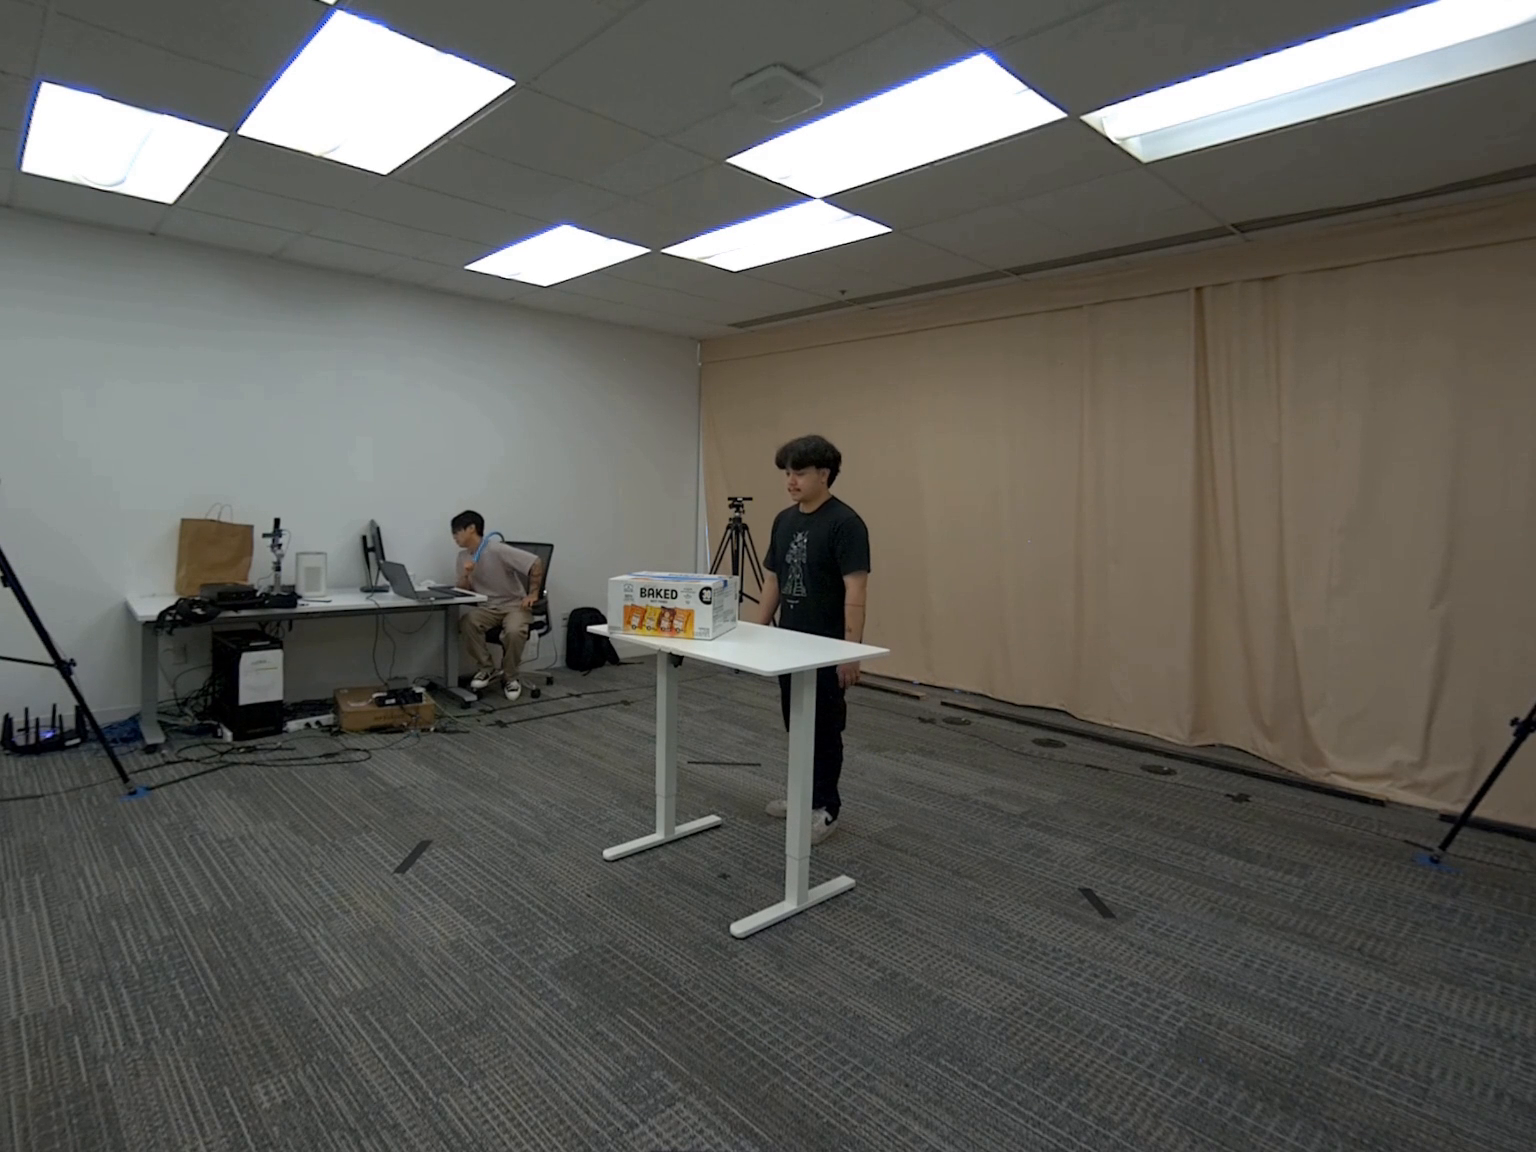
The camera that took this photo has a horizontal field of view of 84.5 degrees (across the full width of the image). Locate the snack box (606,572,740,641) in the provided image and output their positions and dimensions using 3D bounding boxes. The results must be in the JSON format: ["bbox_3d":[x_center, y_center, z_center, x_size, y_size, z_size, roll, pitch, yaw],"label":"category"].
[{"bbox_3d":[-0.360,0.104,3.215,0.410,0.205,0.337,3,5,16],"label":"snack box"}]
